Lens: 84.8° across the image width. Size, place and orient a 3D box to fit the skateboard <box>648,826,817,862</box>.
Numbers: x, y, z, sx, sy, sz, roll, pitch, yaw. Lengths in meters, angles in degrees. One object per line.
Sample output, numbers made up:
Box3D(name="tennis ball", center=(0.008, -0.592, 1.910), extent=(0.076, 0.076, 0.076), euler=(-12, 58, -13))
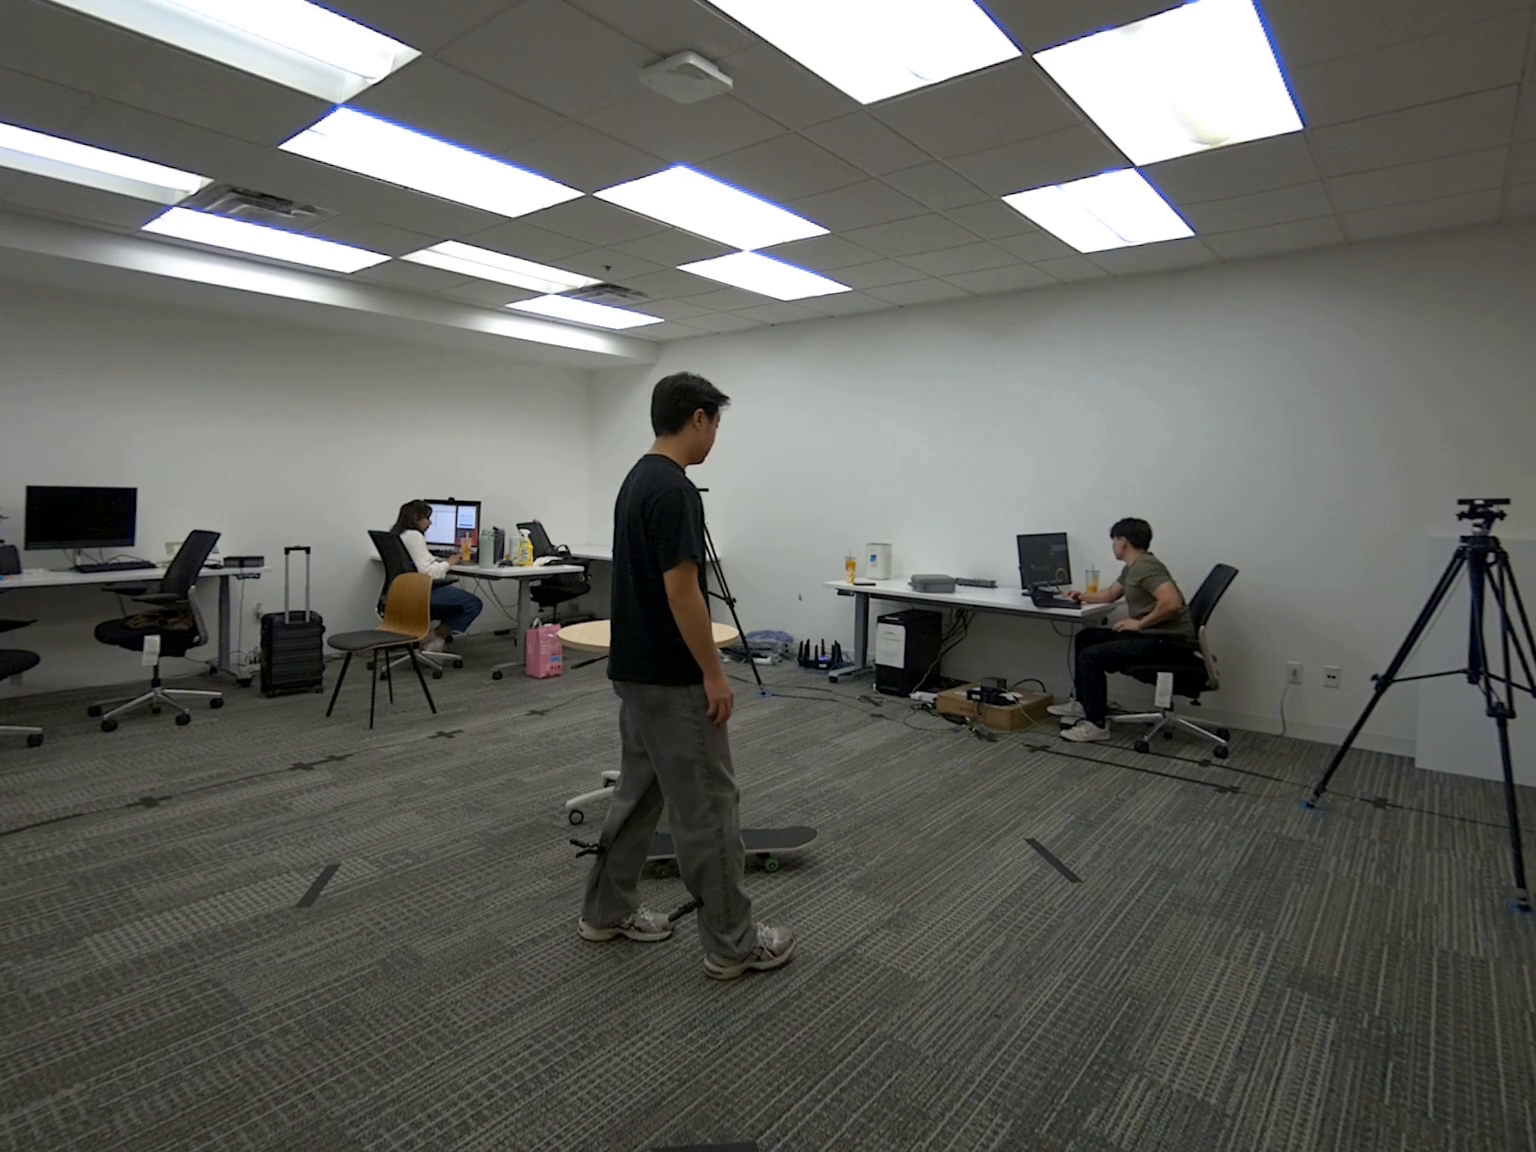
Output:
Box3D(name="skateboard", center=(-0.205, 1.013, 3.148), extent=(0.777, 0.110, 0.196), euler=(0, 4, -10))
